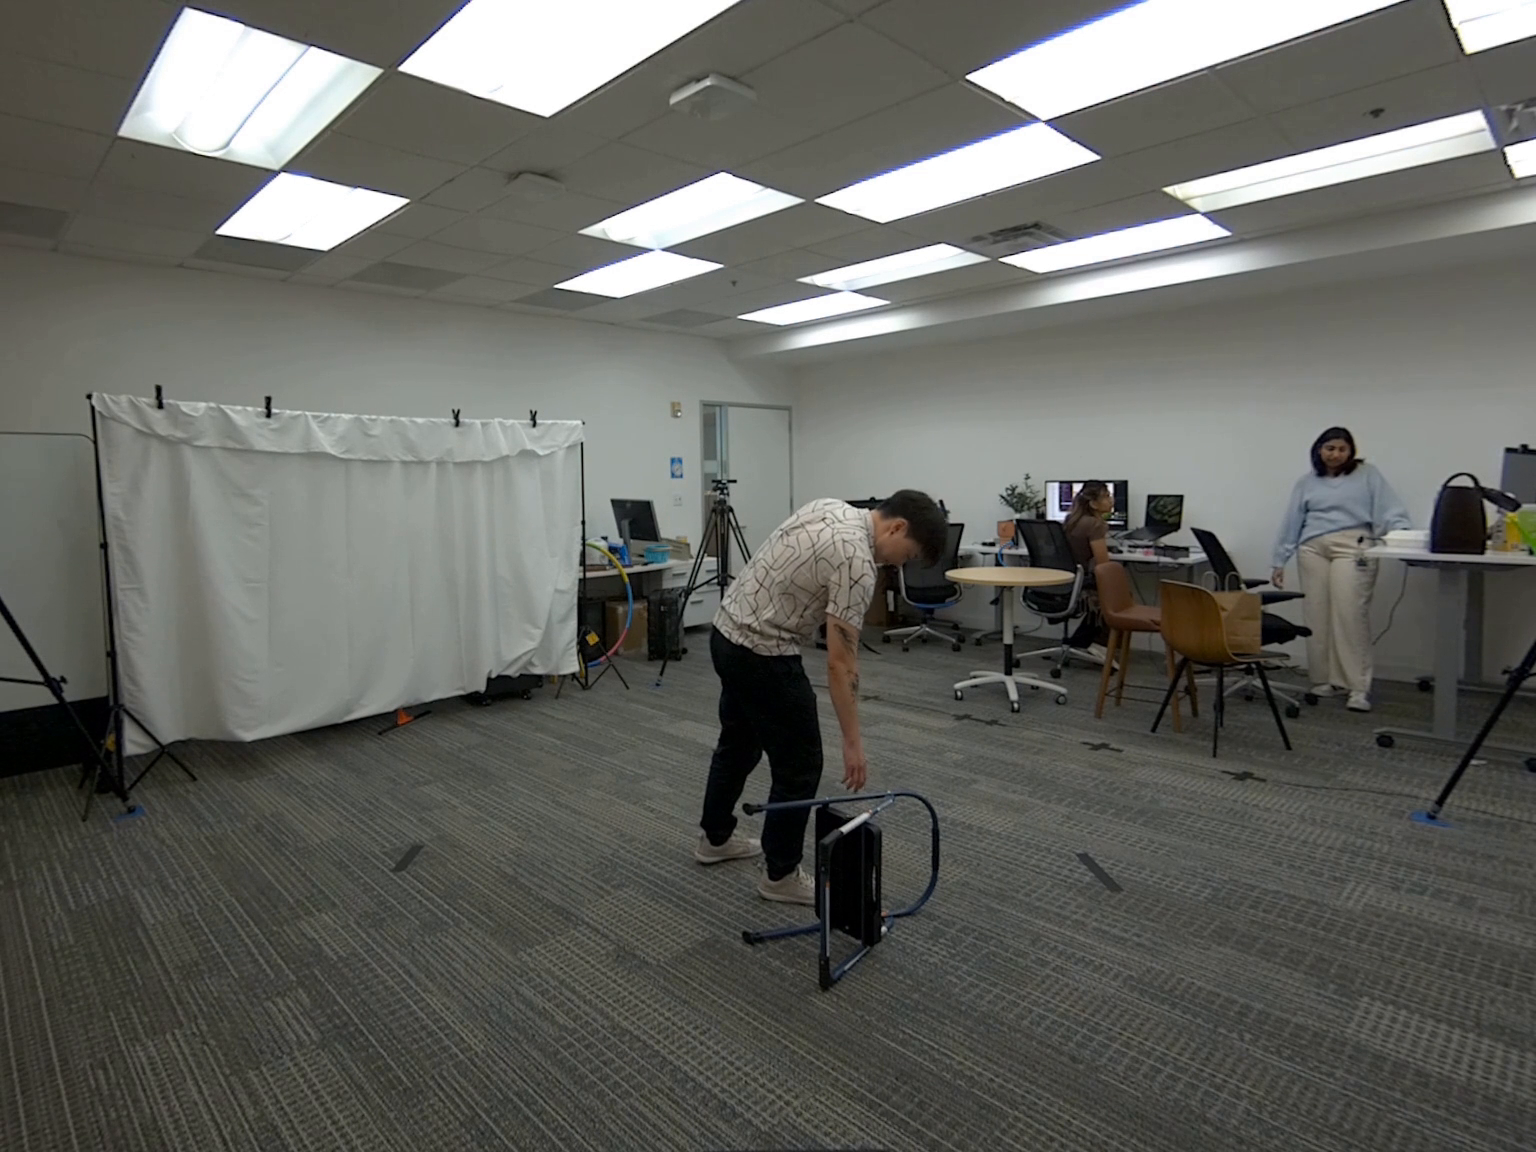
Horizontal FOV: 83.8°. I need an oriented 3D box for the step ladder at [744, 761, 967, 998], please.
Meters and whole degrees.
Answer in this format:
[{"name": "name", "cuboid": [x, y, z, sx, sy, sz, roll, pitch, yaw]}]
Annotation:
[{"name": "step ladder", "cuboid": [0.271, 0.886, 2.628, 0.590, 0.429, 0.360, -5, 7, -39]}]
